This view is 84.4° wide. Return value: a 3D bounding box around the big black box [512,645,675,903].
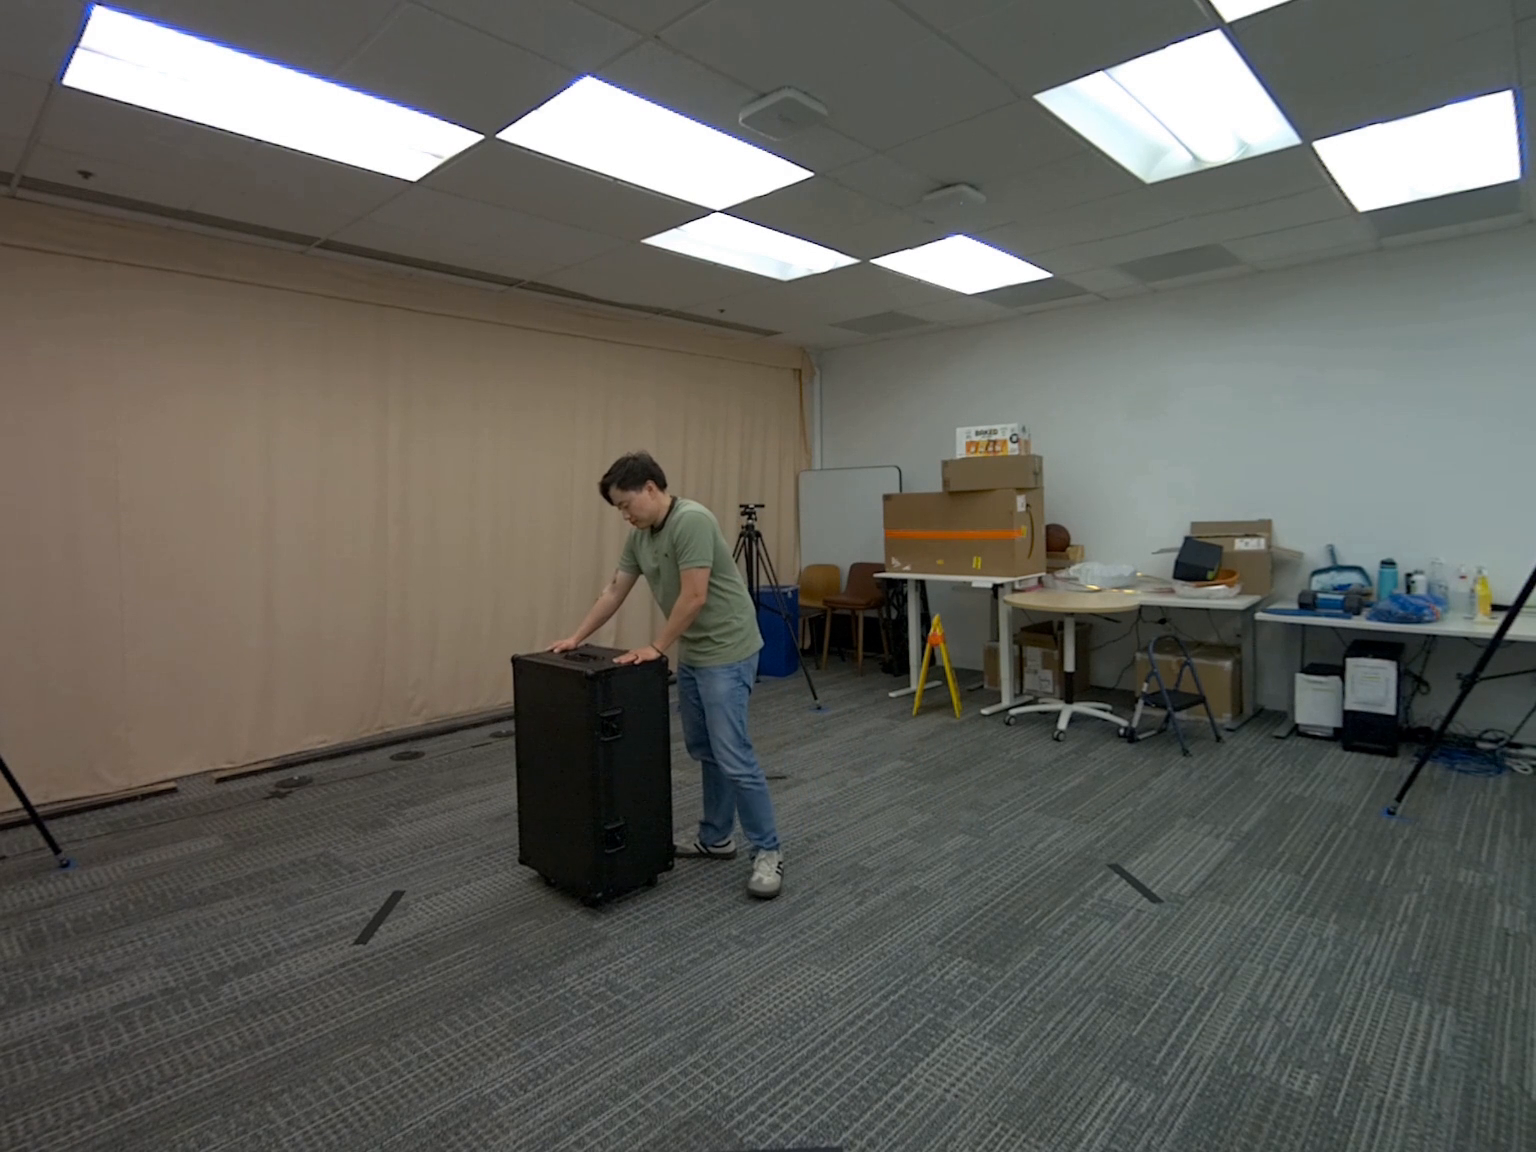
[{"bbox_3d":[-0.640,0.717,3.107,0.538,0.860,0.384,2,4,44],"label":"big black box"}]
